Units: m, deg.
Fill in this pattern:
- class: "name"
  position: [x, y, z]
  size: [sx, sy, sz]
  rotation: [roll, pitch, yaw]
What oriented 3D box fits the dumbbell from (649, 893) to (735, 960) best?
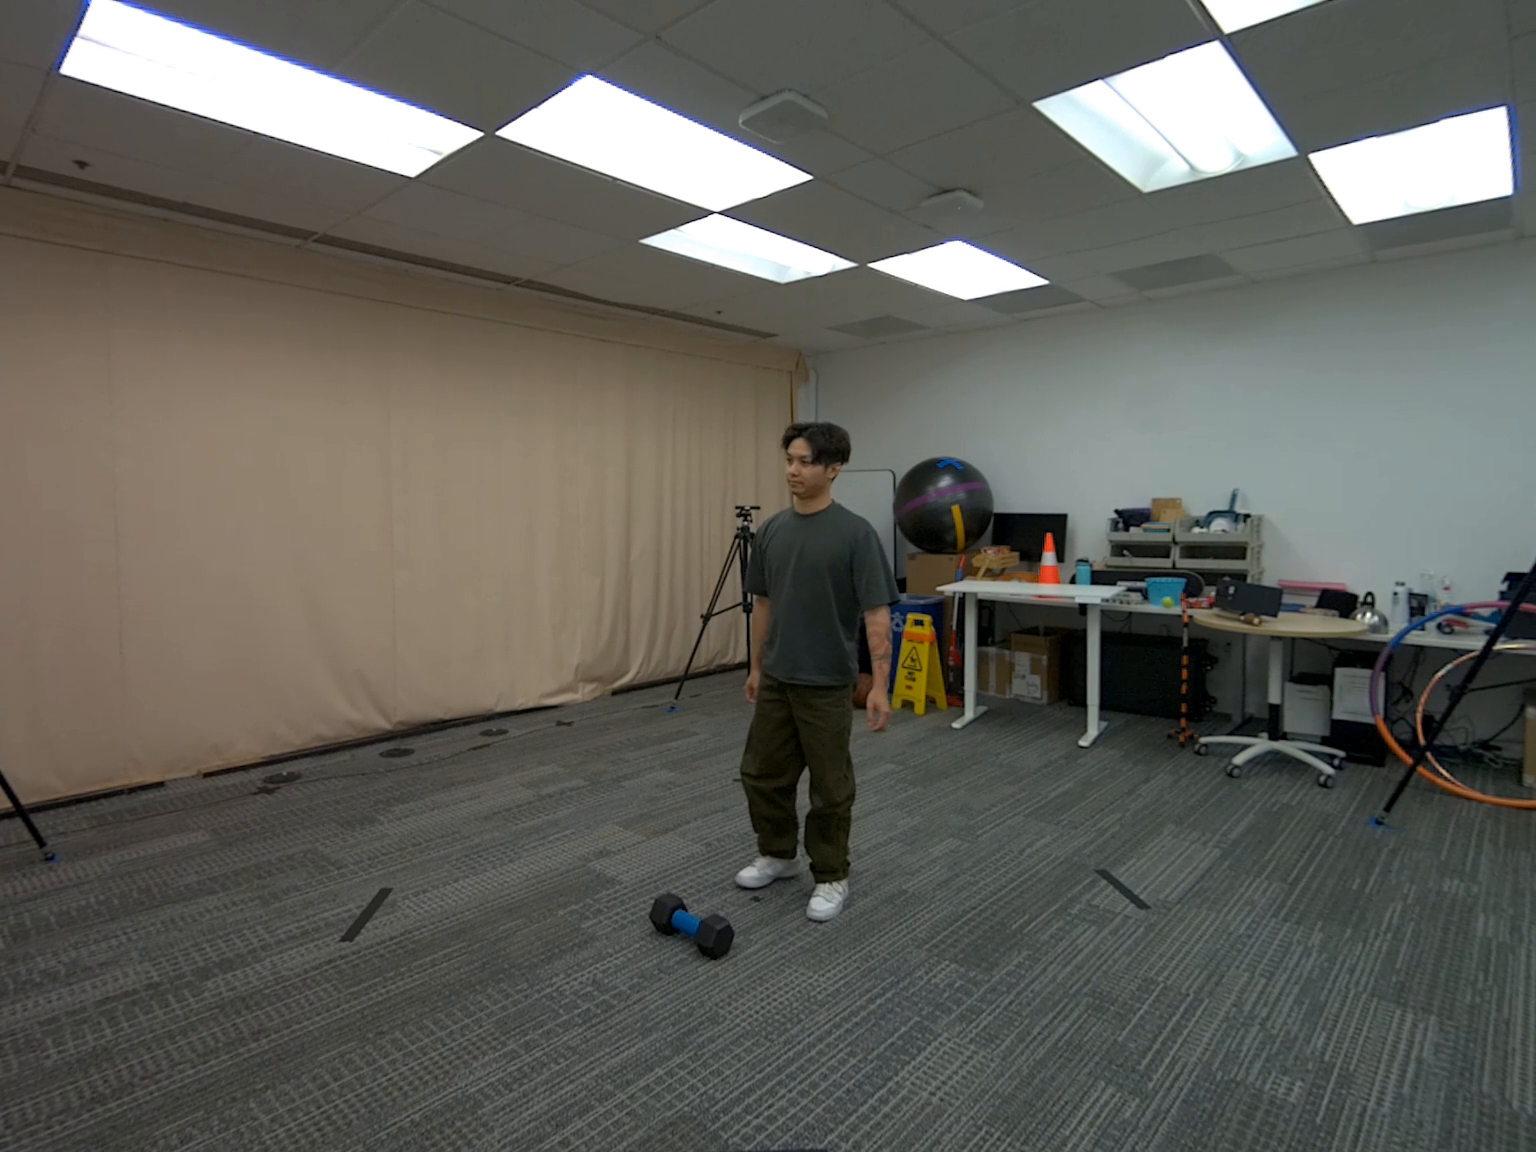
- class: "dumbbell"
  position: [-0.245, 1.117, 2.688]
  size: [0.303, 0.120, 0.107]
  rotation: [4, 36, 42]
